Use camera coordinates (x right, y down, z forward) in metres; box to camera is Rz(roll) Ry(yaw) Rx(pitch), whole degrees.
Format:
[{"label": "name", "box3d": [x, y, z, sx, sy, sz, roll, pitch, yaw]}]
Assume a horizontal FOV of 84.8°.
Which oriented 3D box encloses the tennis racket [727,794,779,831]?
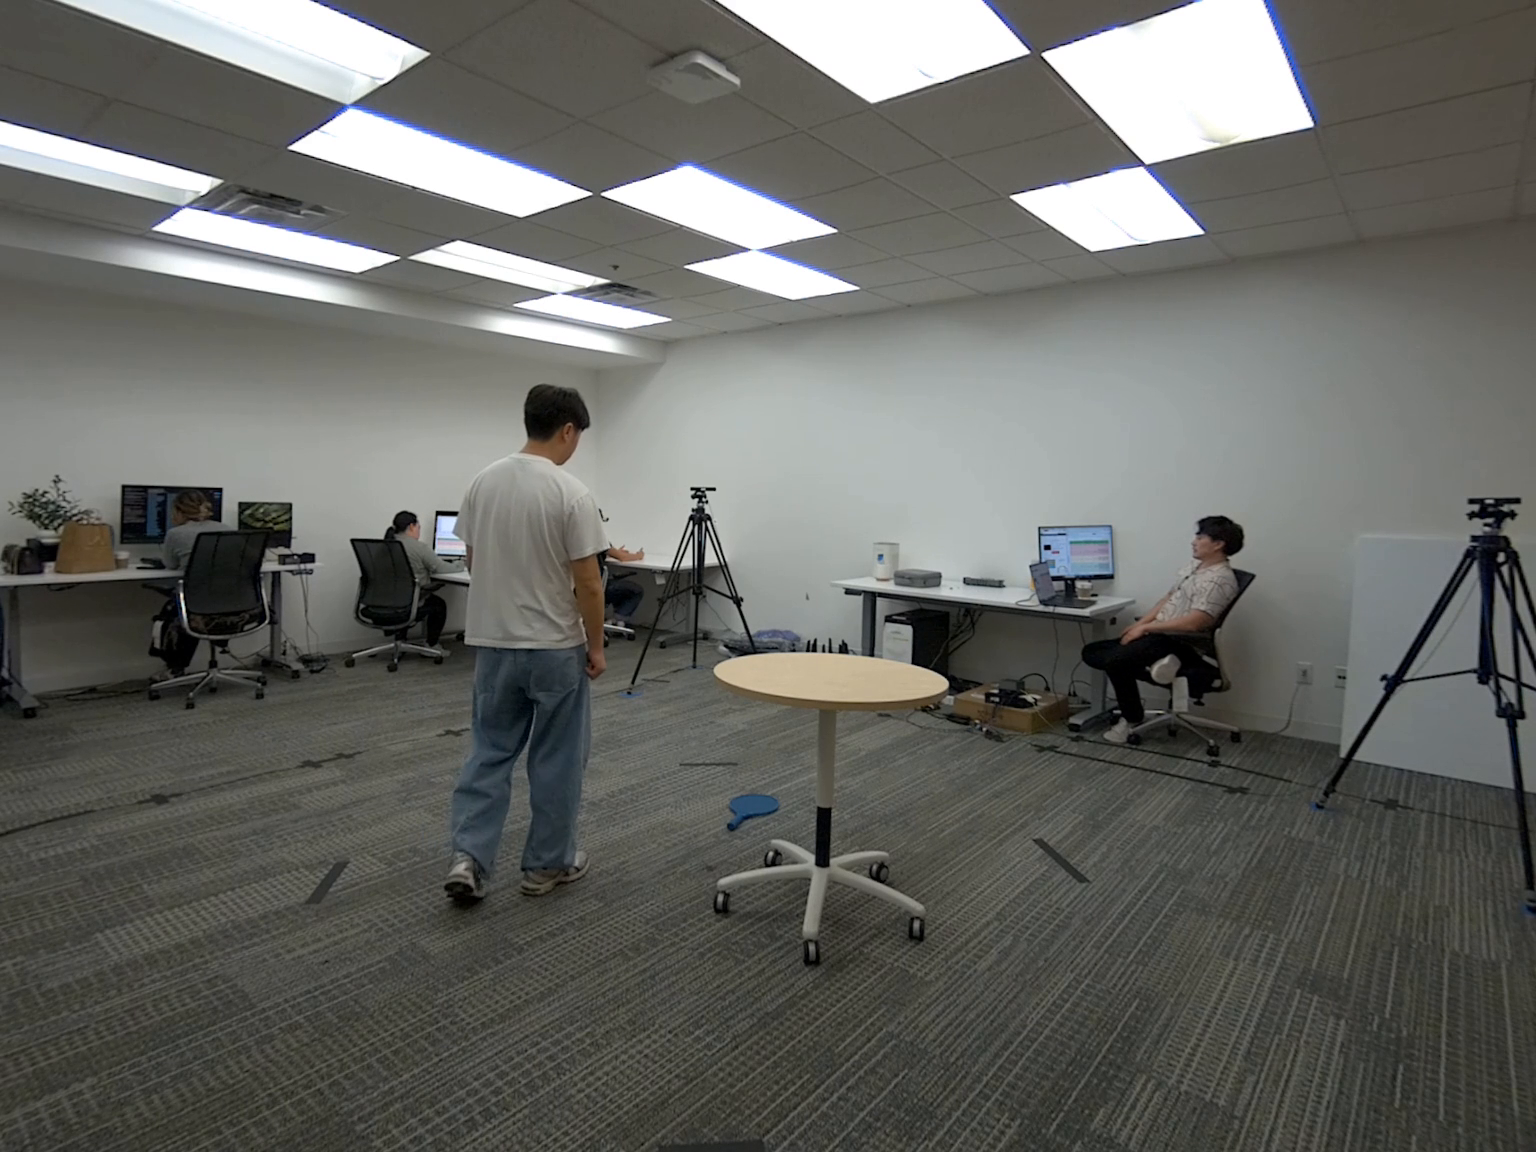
[{"label": "tennis racket", "box3d": [-0.097, 0.999, 3.650, 0.218, 0.032, 0.424, 2, 4, 20]}]
